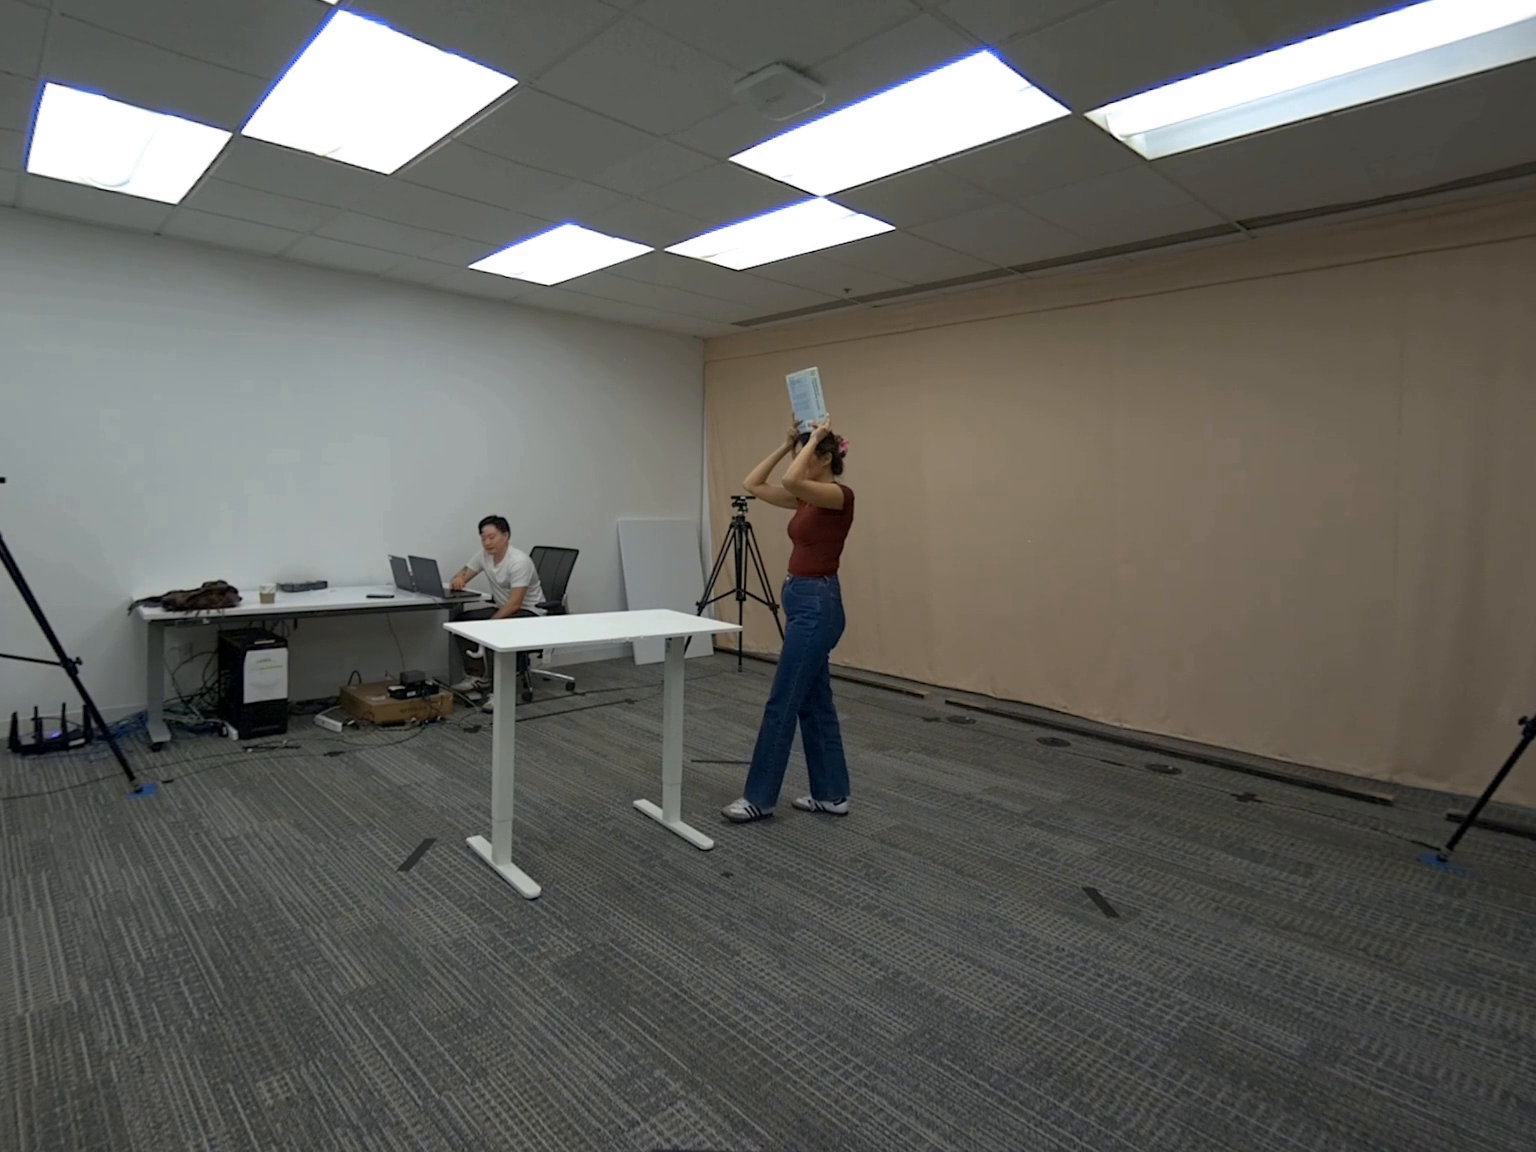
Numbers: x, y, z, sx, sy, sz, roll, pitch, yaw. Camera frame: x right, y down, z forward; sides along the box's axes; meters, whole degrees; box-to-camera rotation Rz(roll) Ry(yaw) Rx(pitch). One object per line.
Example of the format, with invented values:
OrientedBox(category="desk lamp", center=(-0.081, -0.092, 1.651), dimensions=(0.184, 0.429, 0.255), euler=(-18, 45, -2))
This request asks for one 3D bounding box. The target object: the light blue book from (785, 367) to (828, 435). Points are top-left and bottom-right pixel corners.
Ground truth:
OrientedBox(category="light blue book", center=(0.161, -0.755, 3.635), dimensions=(0.058, 0.259, 0.195), euler=(-14, 9, -24))
